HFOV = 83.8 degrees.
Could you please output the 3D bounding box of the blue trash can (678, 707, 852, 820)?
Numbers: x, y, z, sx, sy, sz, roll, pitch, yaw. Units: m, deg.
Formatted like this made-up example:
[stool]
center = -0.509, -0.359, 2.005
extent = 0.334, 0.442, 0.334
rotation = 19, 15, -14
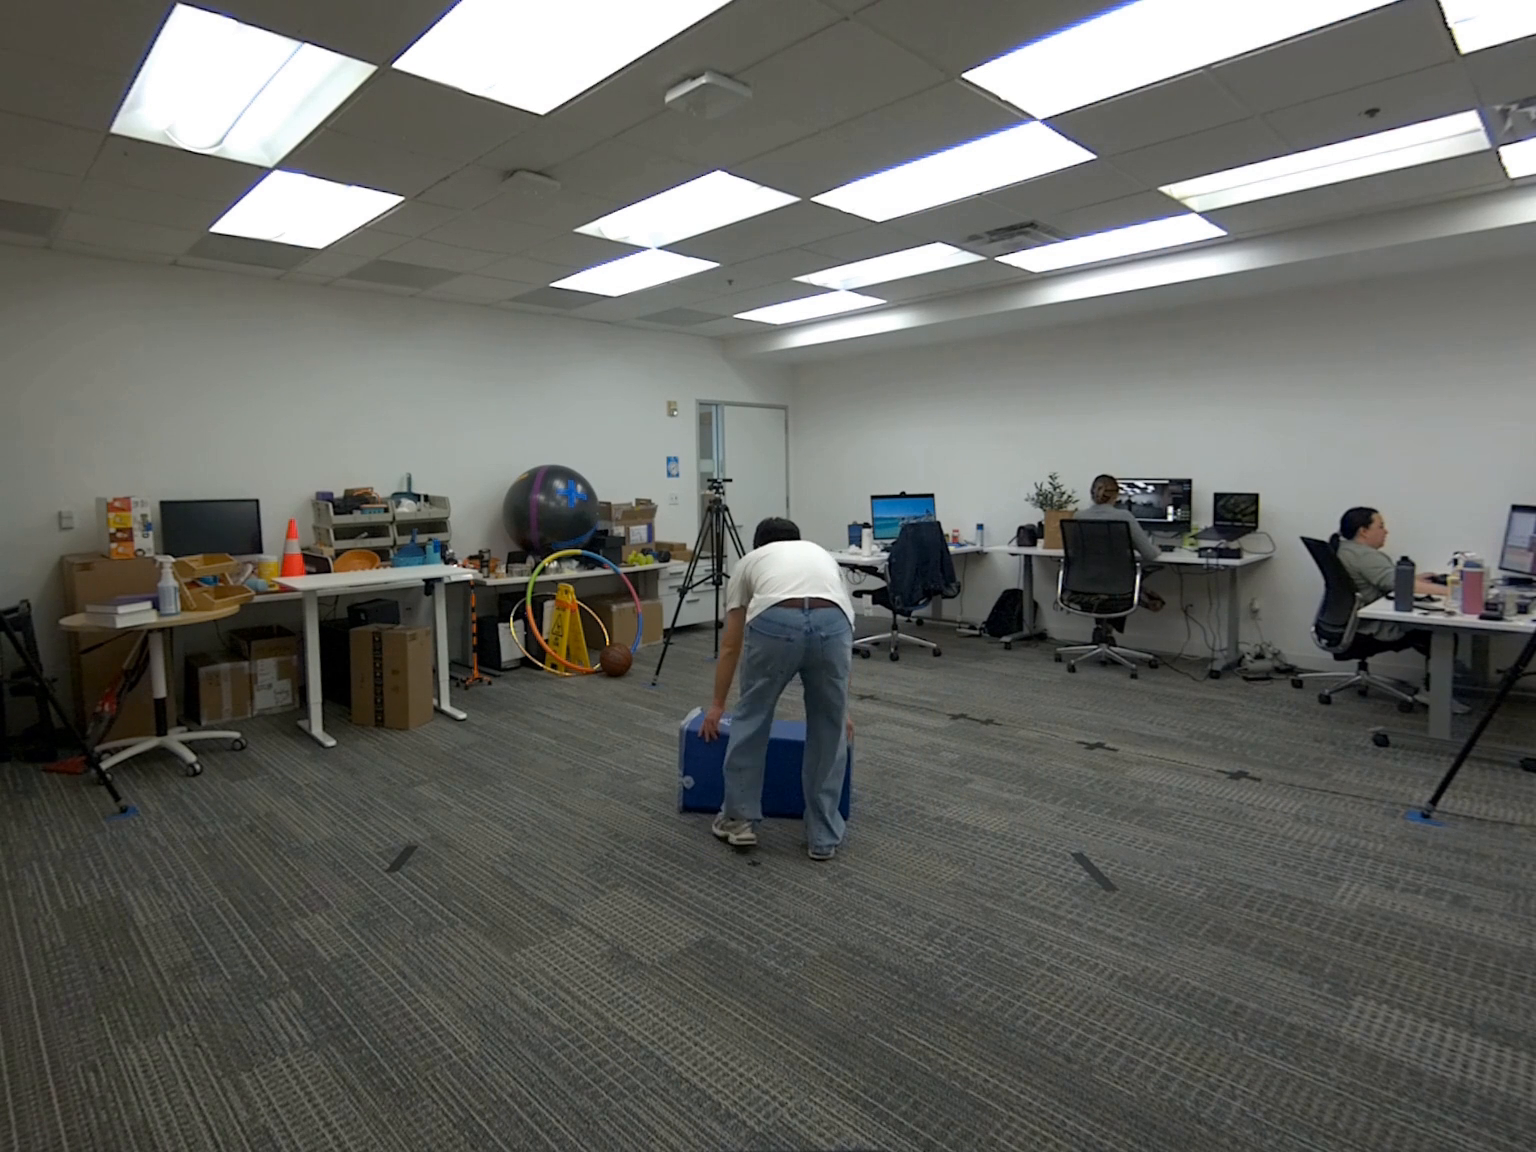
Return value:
[blue trash can]
center = -0.001, 0.807, 3.677
extent = 0.721, 0.377, 0.371
rotation = 2, 3, 10
